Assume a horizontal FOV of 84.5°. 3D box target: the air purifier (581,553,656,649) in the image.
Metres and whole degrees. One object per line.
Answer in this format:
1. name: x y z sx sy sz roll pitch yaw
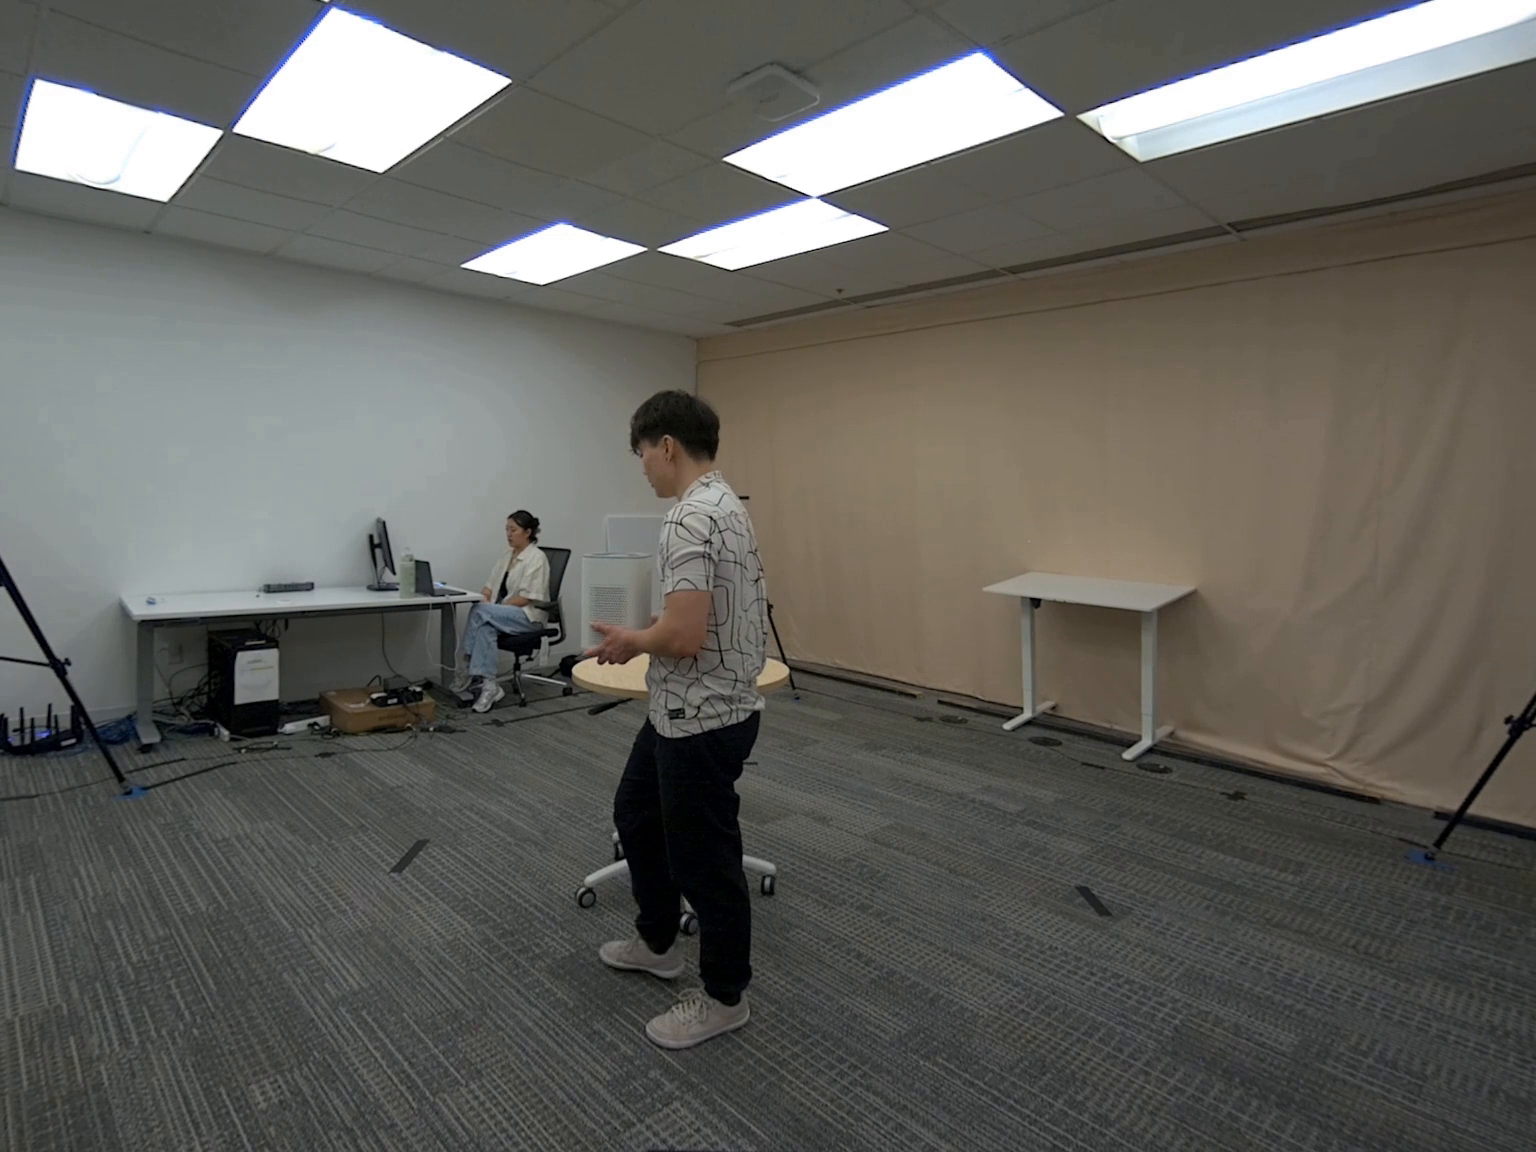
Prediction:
1. air purifier: -0.403 0.074 2.230 0.173 0.264 0.170 3 6 10
